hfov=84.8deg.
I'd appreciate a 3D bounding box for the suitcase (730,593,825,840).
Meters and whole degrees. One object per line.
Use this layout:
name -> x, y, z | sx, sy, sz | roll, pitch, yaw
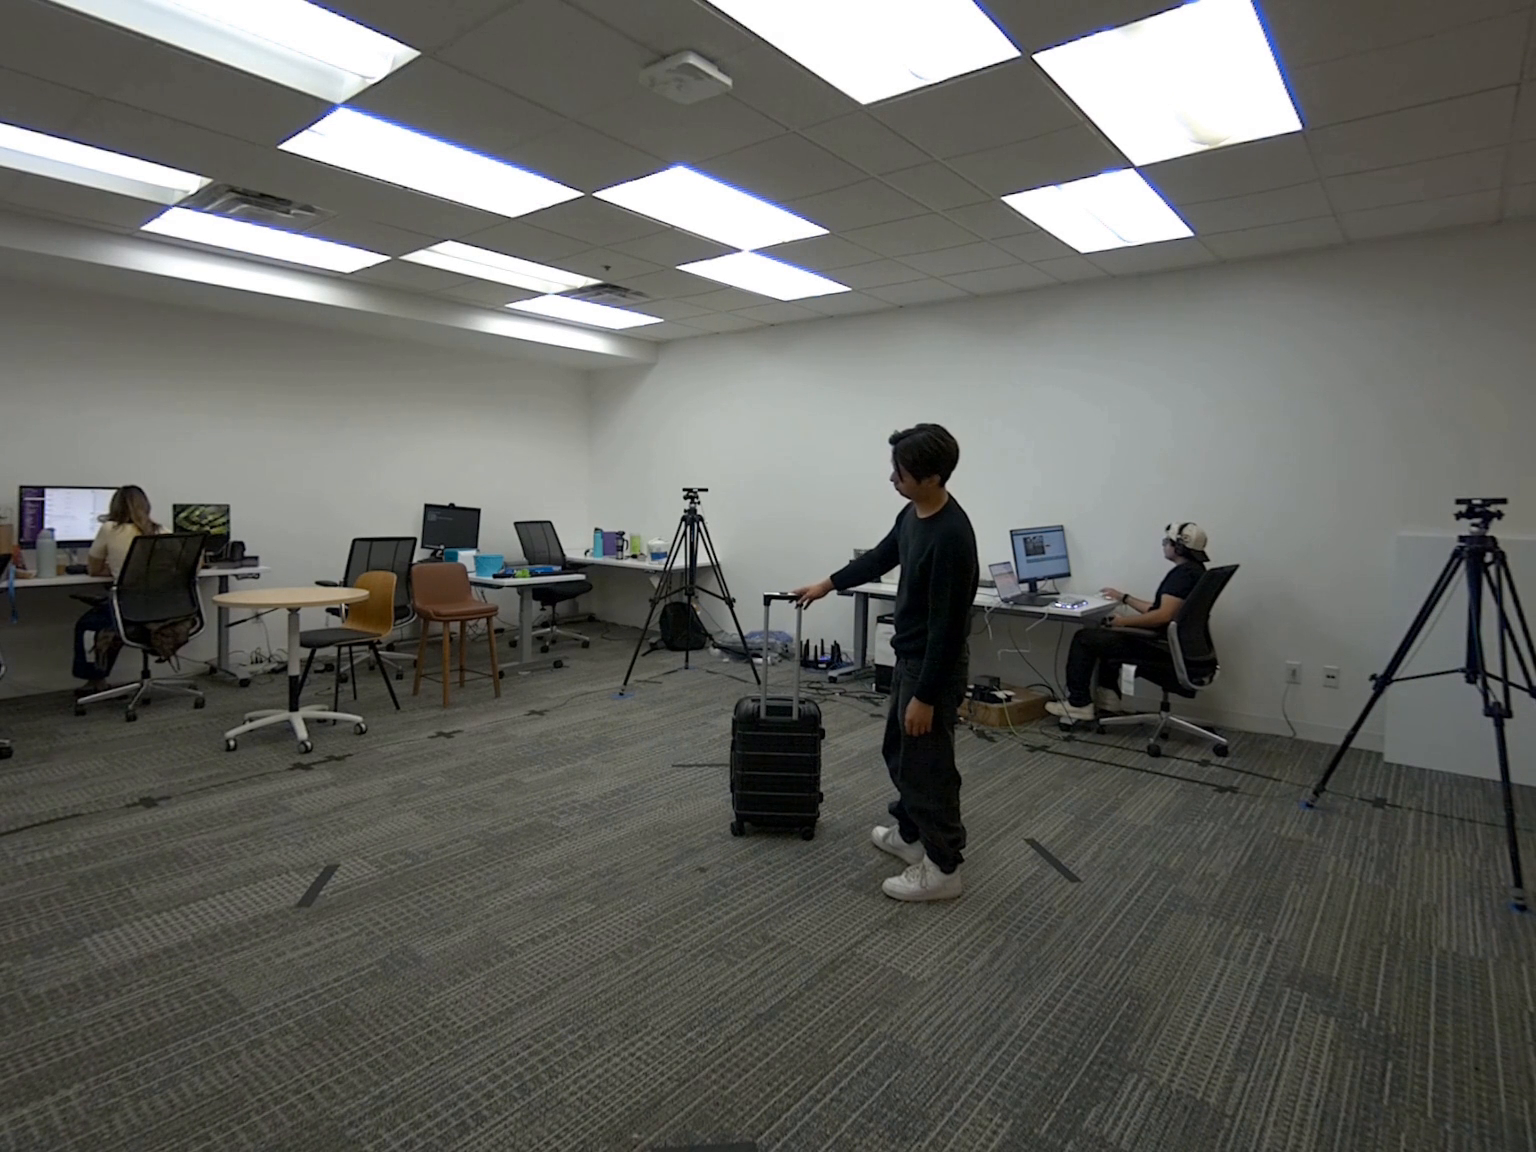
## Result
suitcase -> 0.031, 0.559, 3.496 | 0.384, 0.977, 0.257 | 2, 1, 0
